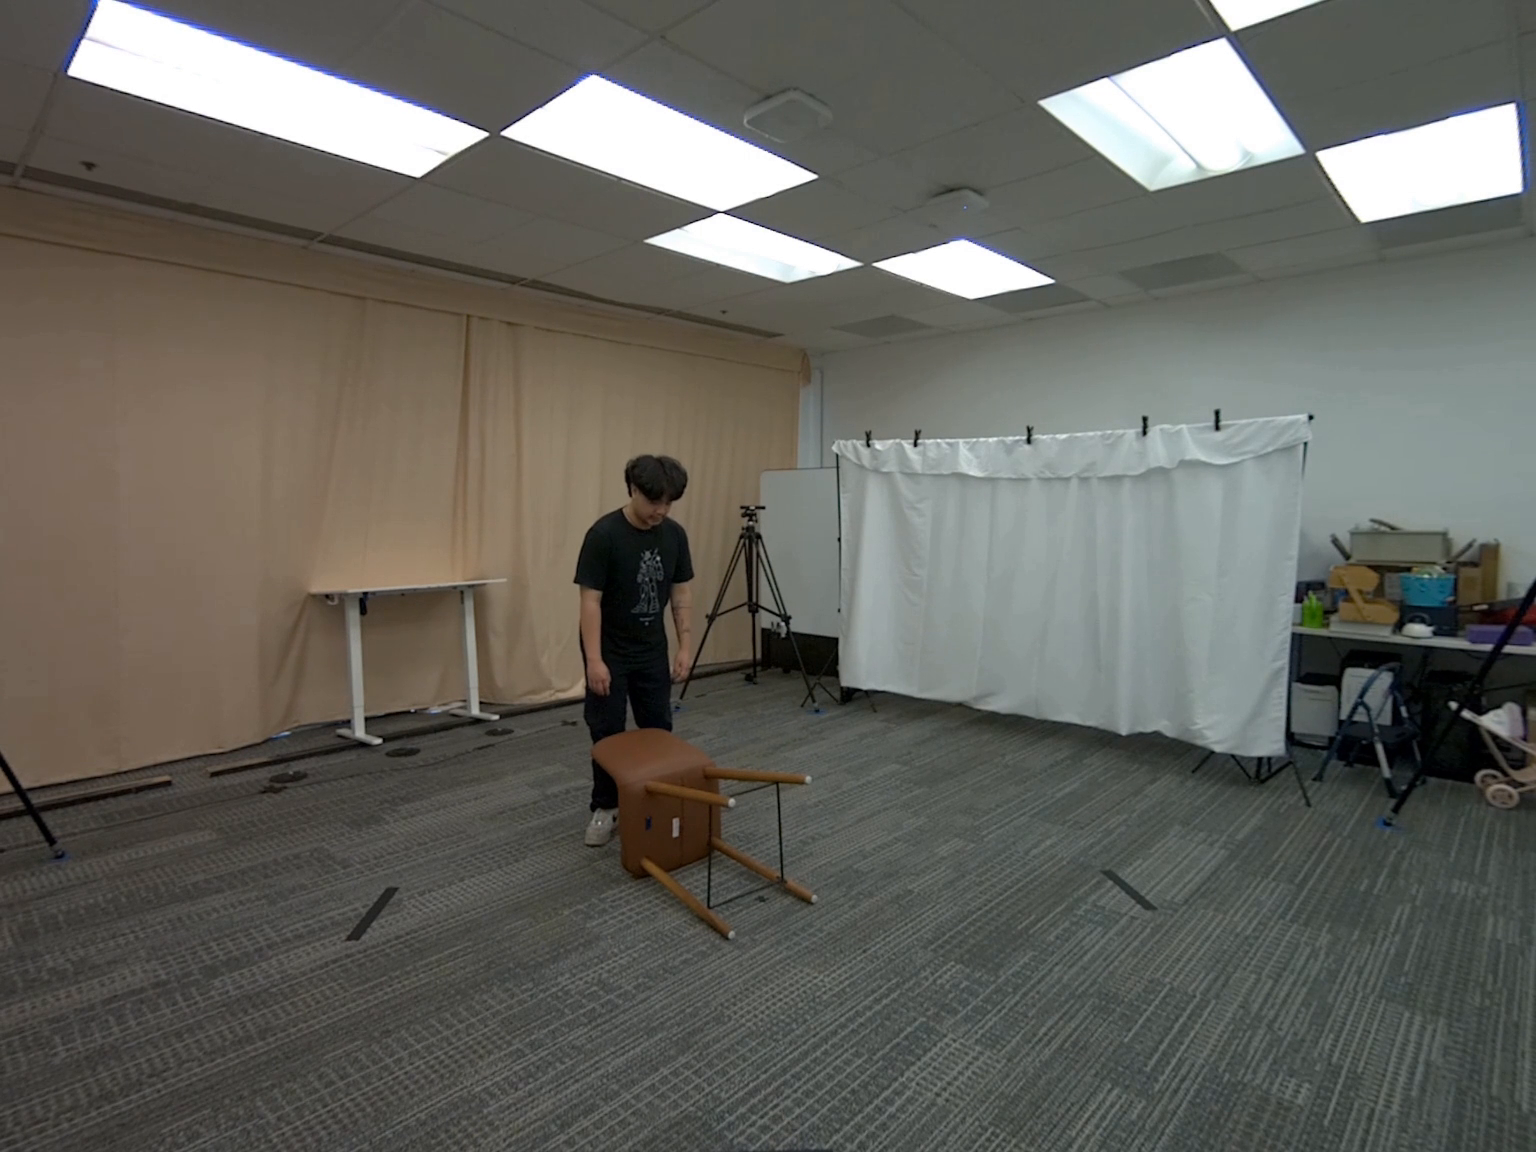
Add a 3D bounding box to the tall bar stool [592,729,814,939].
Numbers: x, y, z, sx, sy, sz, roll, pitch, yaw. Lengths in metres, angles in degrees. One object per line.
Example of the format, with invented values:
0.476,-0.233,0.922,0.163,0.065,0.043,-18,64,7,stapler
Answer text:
-0.272,0.903,3.149,0.443,0.466,0.920,-4,7,-41,tall bar stool
